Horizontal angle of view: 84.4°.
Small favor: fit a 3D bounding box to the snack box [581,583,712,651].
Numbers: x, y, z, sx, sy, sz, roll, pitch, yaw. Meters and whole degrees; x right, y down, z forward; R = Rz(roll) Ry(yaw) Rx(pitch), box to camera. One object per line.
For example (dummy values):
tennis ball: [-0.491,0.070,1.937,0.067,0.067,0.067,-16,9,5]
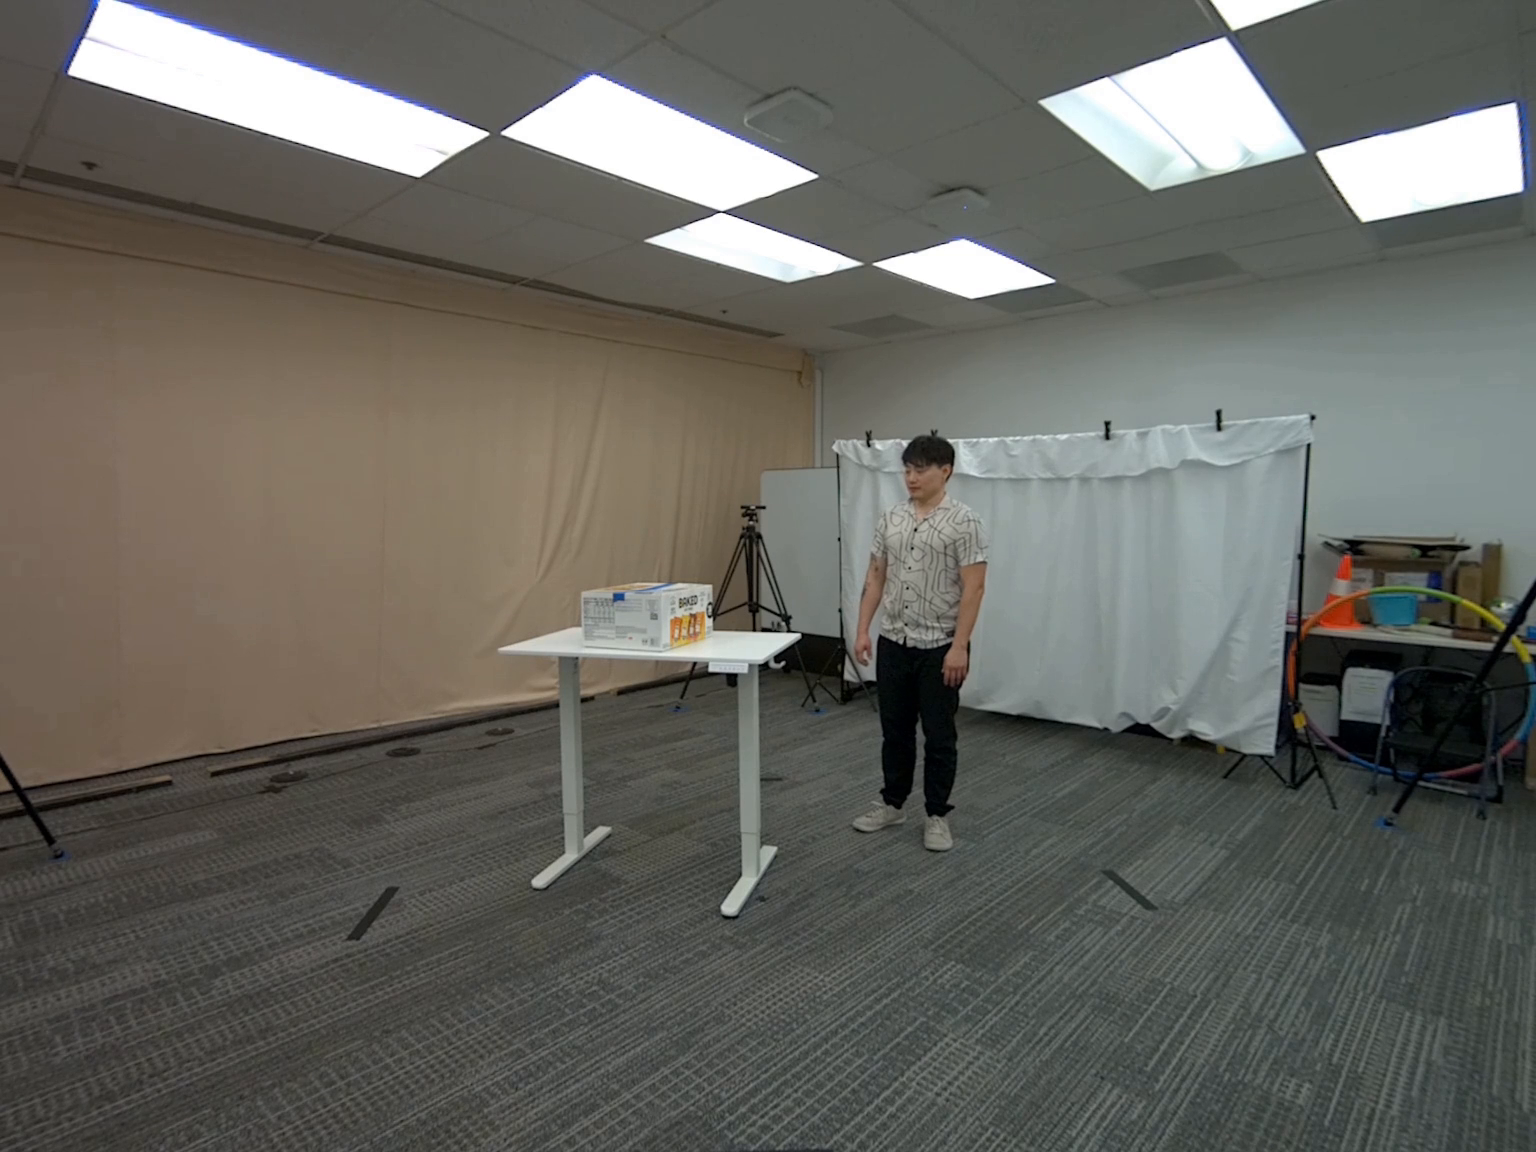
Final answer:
snack box: [-0.445,0.146,3.177,0.349,0.205,0.396,1,4,24]
